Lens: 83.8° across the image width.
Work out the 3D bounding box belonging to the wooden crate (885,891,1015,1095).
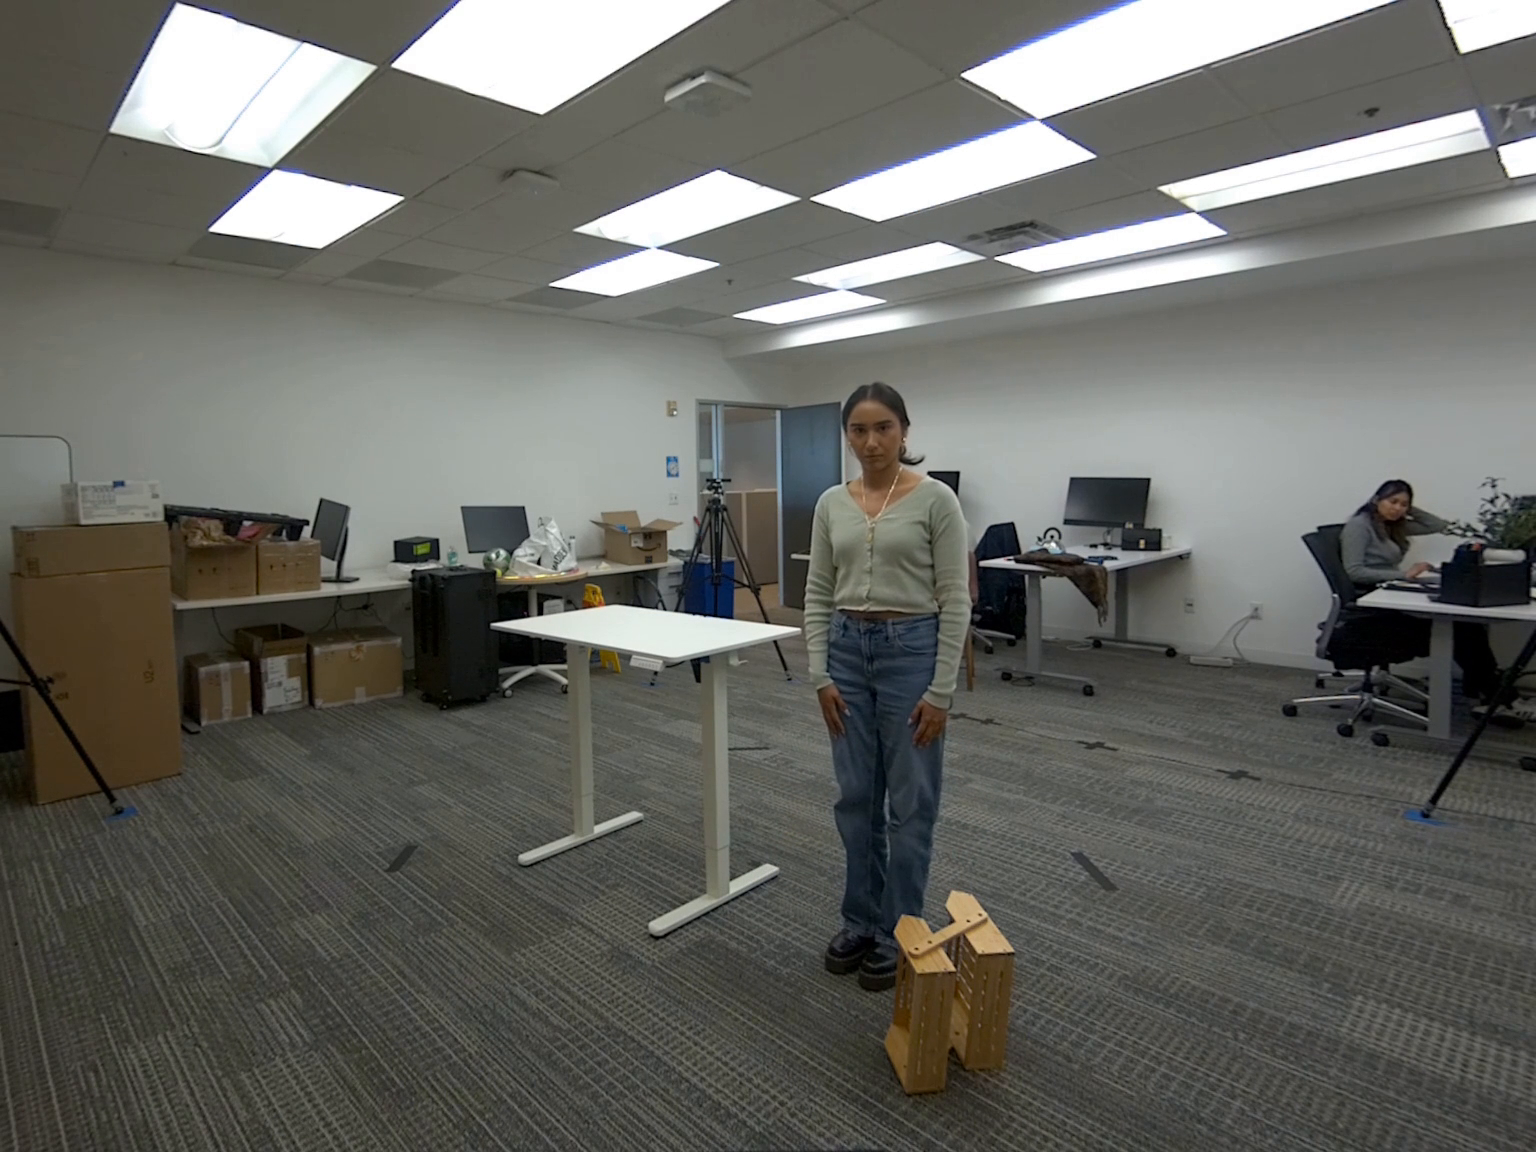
[{"bbox_3d":[0.424,0.997,2.059,0.269,0.322,0.309,1,10,-15],"label":"wooden crate"}]
